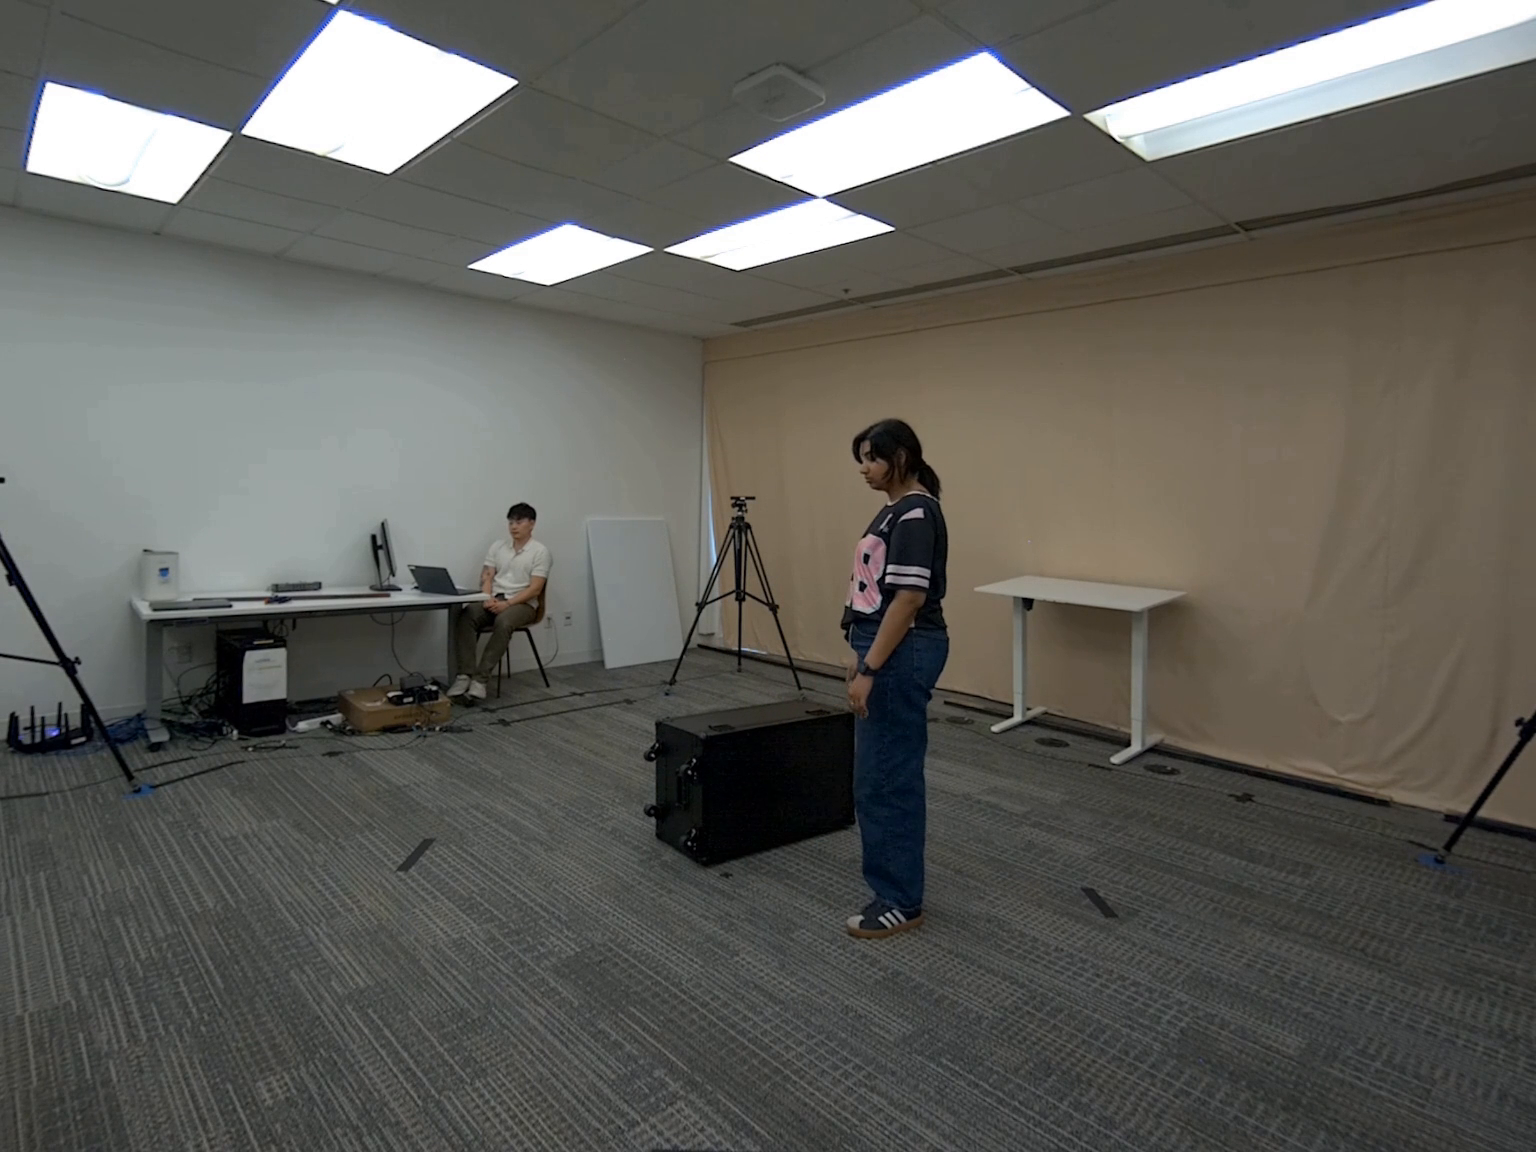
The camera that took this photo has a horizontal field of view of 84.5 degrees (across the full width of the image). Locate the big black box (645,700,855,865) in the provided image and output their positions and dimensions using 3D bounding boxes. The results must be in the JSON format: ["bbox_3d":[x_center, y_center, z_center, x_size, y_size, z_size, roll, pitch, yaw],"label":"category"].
[{"bbox_3d":[-0.082,0.817,3.492,0.849,0.522,0.395,-2,4,-36],"label":"big black box"}]
